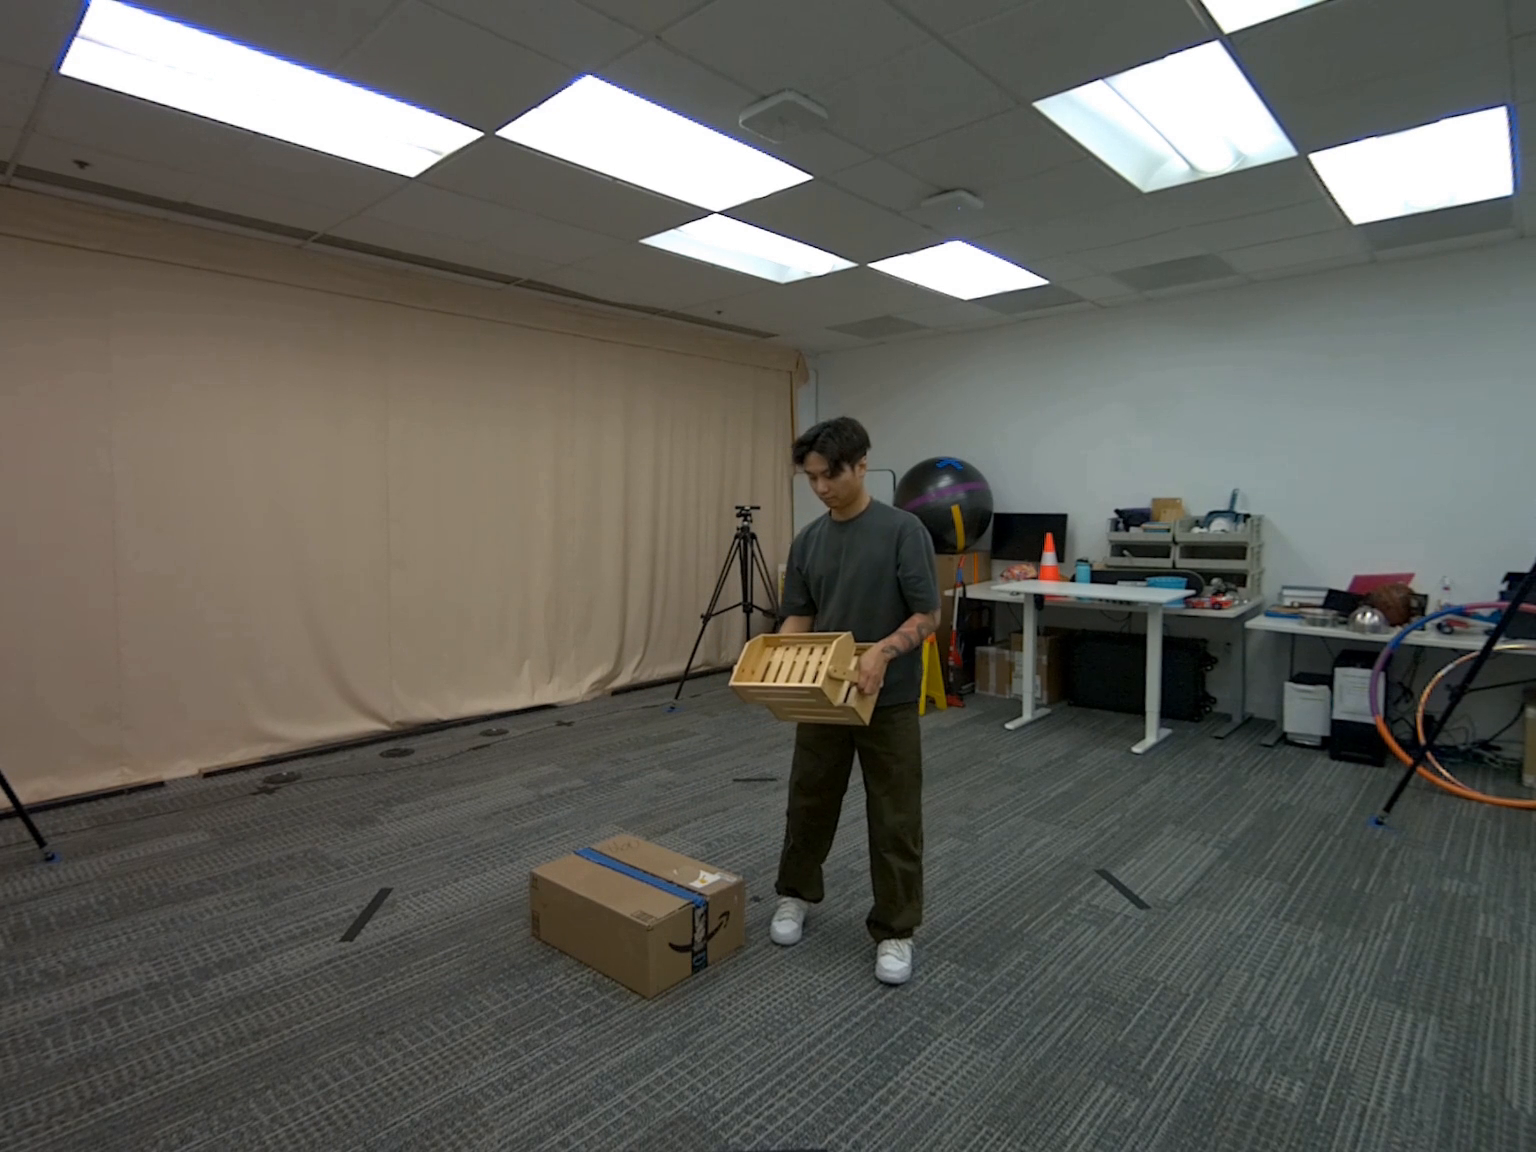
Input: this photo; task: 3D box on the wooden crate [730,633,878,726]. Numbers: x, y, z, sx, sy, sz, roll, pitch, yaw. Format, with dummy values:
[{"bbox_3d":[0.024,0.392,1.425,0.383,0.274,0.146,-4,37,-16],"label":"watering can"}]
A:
[{"bbox_3d":[0.123,0.258,2.399,0.334,0.303,0.265,-6,-44,38],"label":"wooden crate"}]
